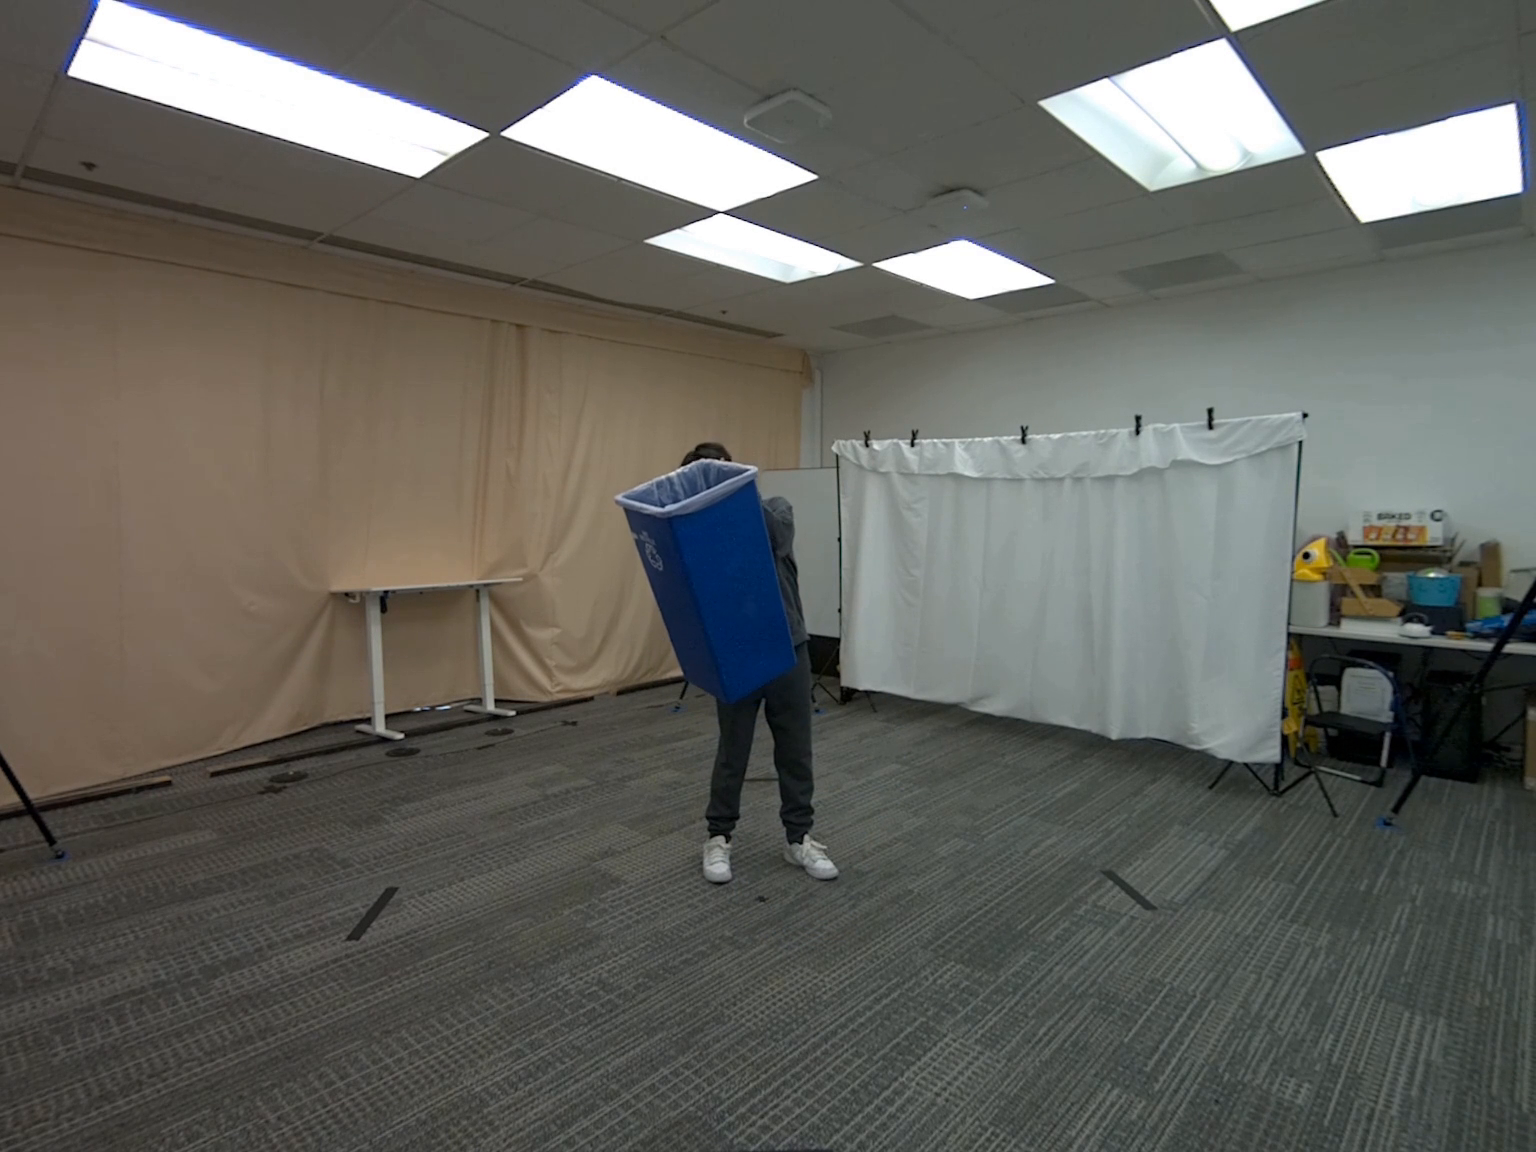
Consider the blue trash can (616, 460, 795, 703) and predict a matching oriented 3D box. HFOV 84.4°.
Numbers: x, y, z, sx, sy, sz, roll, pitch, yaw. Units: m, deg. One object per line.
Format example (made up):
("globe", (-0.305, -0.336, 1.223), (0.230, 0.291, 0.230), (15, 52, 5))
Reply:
("blue trash can", (-0.178, 0.016, 2.825), (0.372, 0.701, 0.387), (-26, 23, -27))
